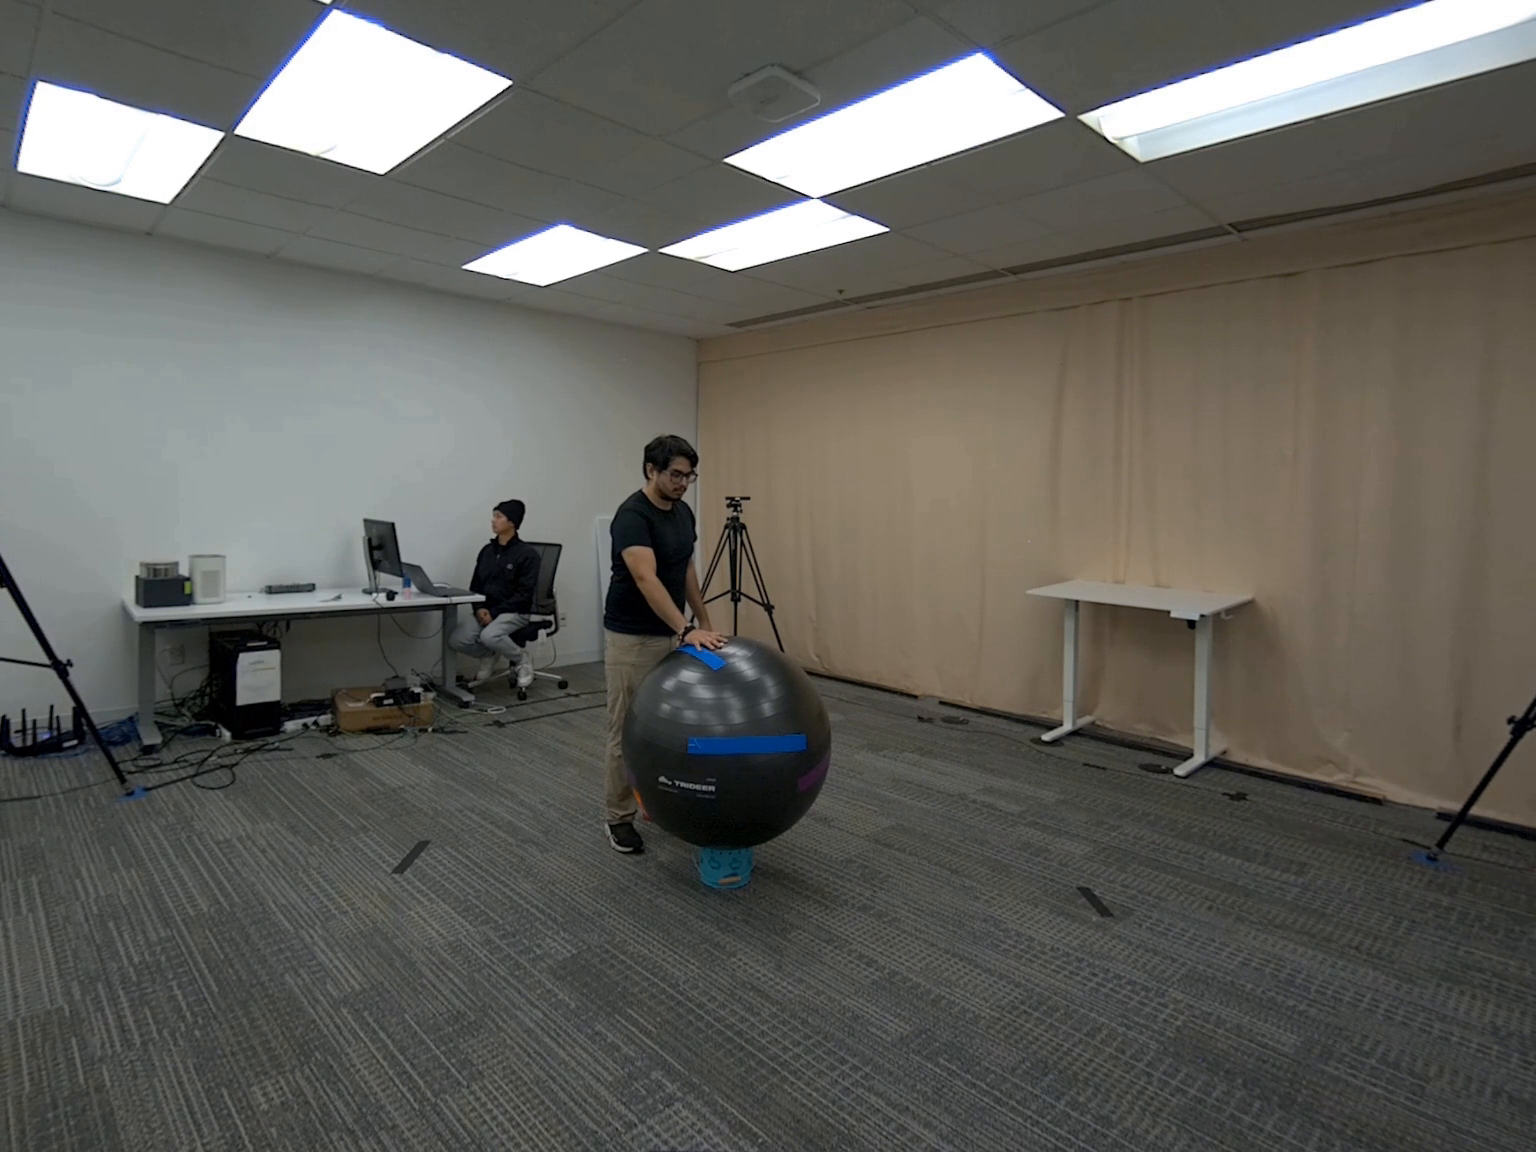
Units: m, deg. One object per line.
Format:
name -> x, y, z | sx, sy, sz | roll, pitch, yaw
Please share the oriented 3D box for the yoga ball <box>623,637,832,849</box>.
yoga ball -> -0.151, 0.605, 3.056 | 0.757, 0.756, 0.760 | 1, 4, -1
